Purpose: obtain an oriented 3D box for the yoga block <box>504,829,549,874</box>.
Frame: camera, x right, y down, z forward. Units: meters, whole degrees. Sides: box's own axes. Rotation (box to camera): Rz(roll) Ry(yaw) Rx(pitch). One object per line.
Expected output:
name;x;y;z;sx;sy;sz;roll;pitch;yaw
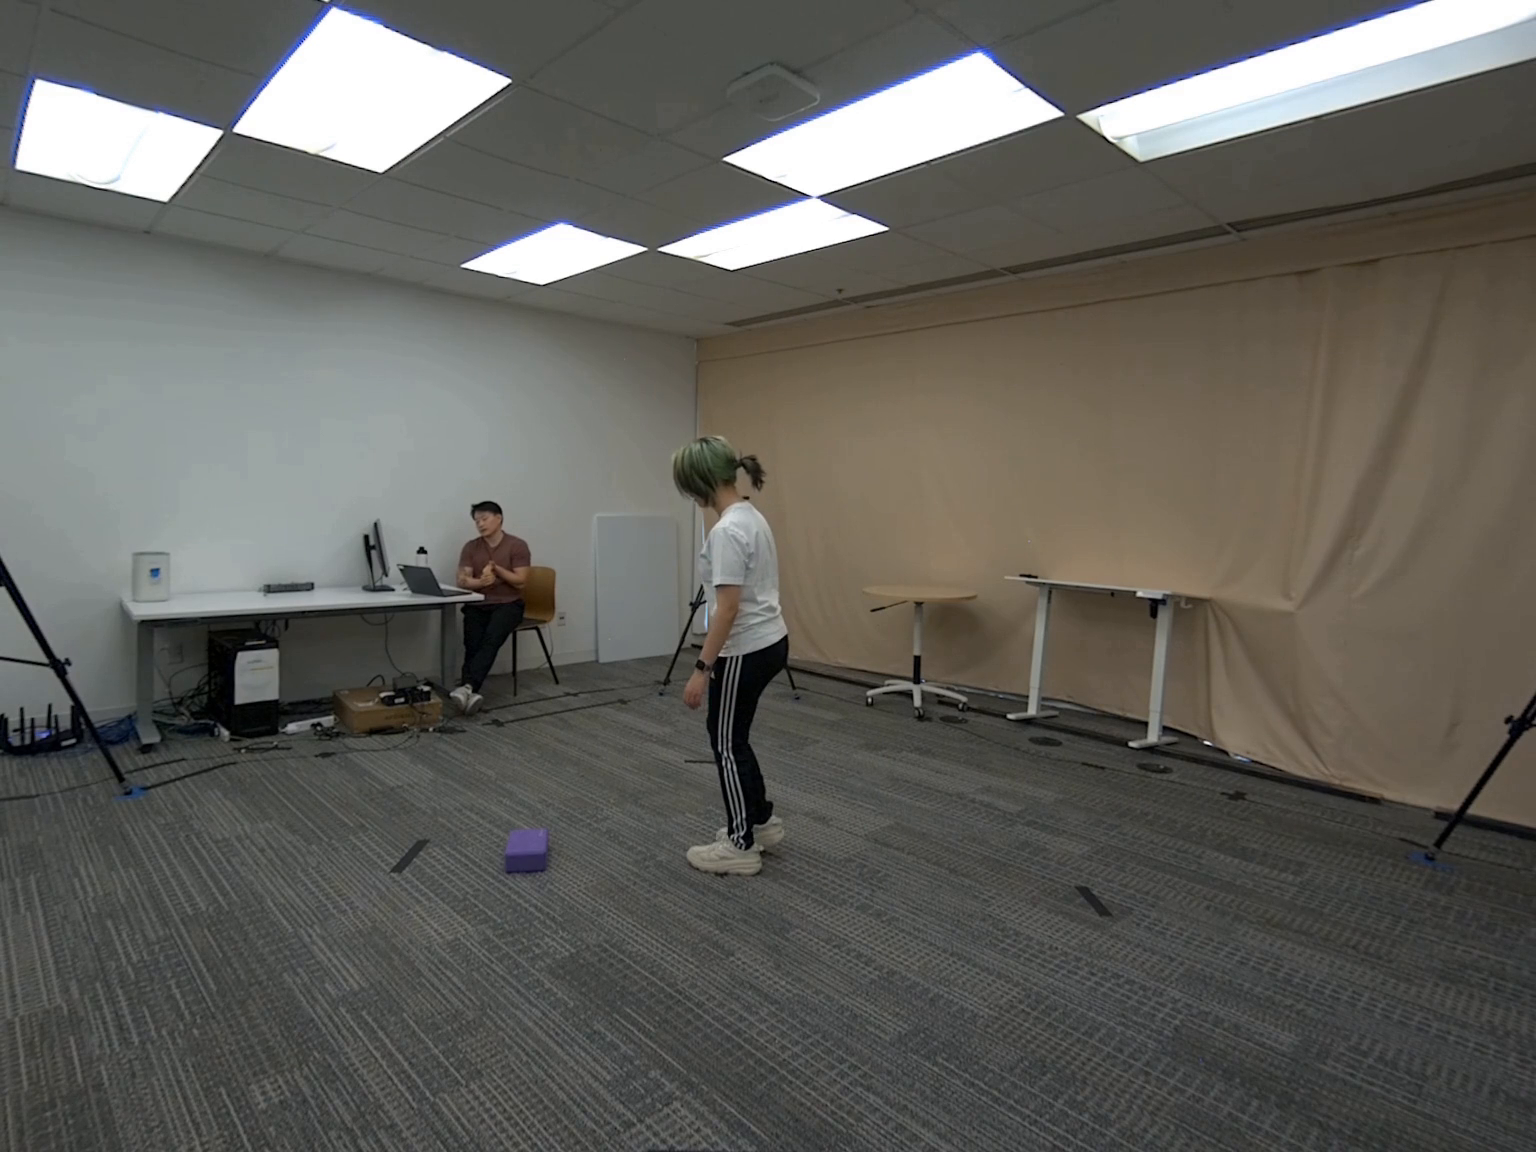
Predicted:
yoga block;-0.917;1.037;3.192;0.148;0.076;0.232;0;6;-11
